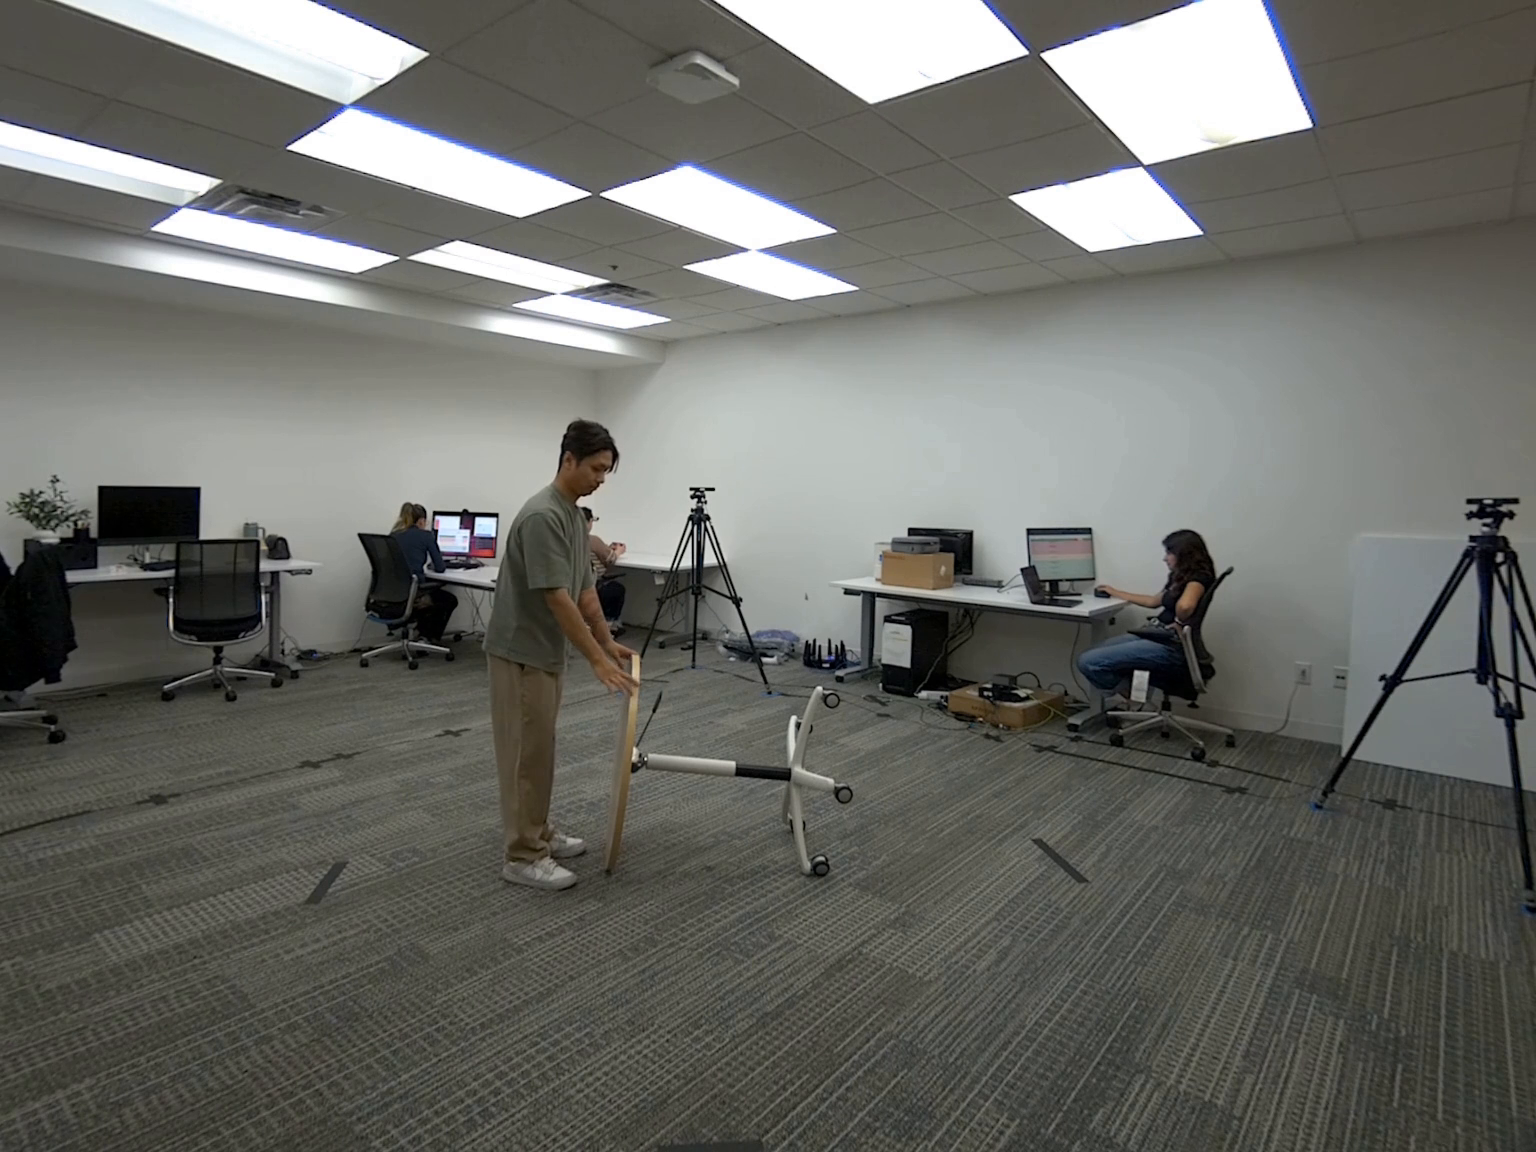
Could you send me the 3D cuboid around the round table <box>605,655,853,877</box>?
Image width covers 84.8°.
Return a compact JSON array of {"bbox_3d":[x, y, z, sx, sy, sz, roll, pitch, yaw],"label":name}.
[{"bbox_3d":[-0.175,0.714,3.204,0.777,0.783,0.796,6,3,-11],"label":"round table"}]
